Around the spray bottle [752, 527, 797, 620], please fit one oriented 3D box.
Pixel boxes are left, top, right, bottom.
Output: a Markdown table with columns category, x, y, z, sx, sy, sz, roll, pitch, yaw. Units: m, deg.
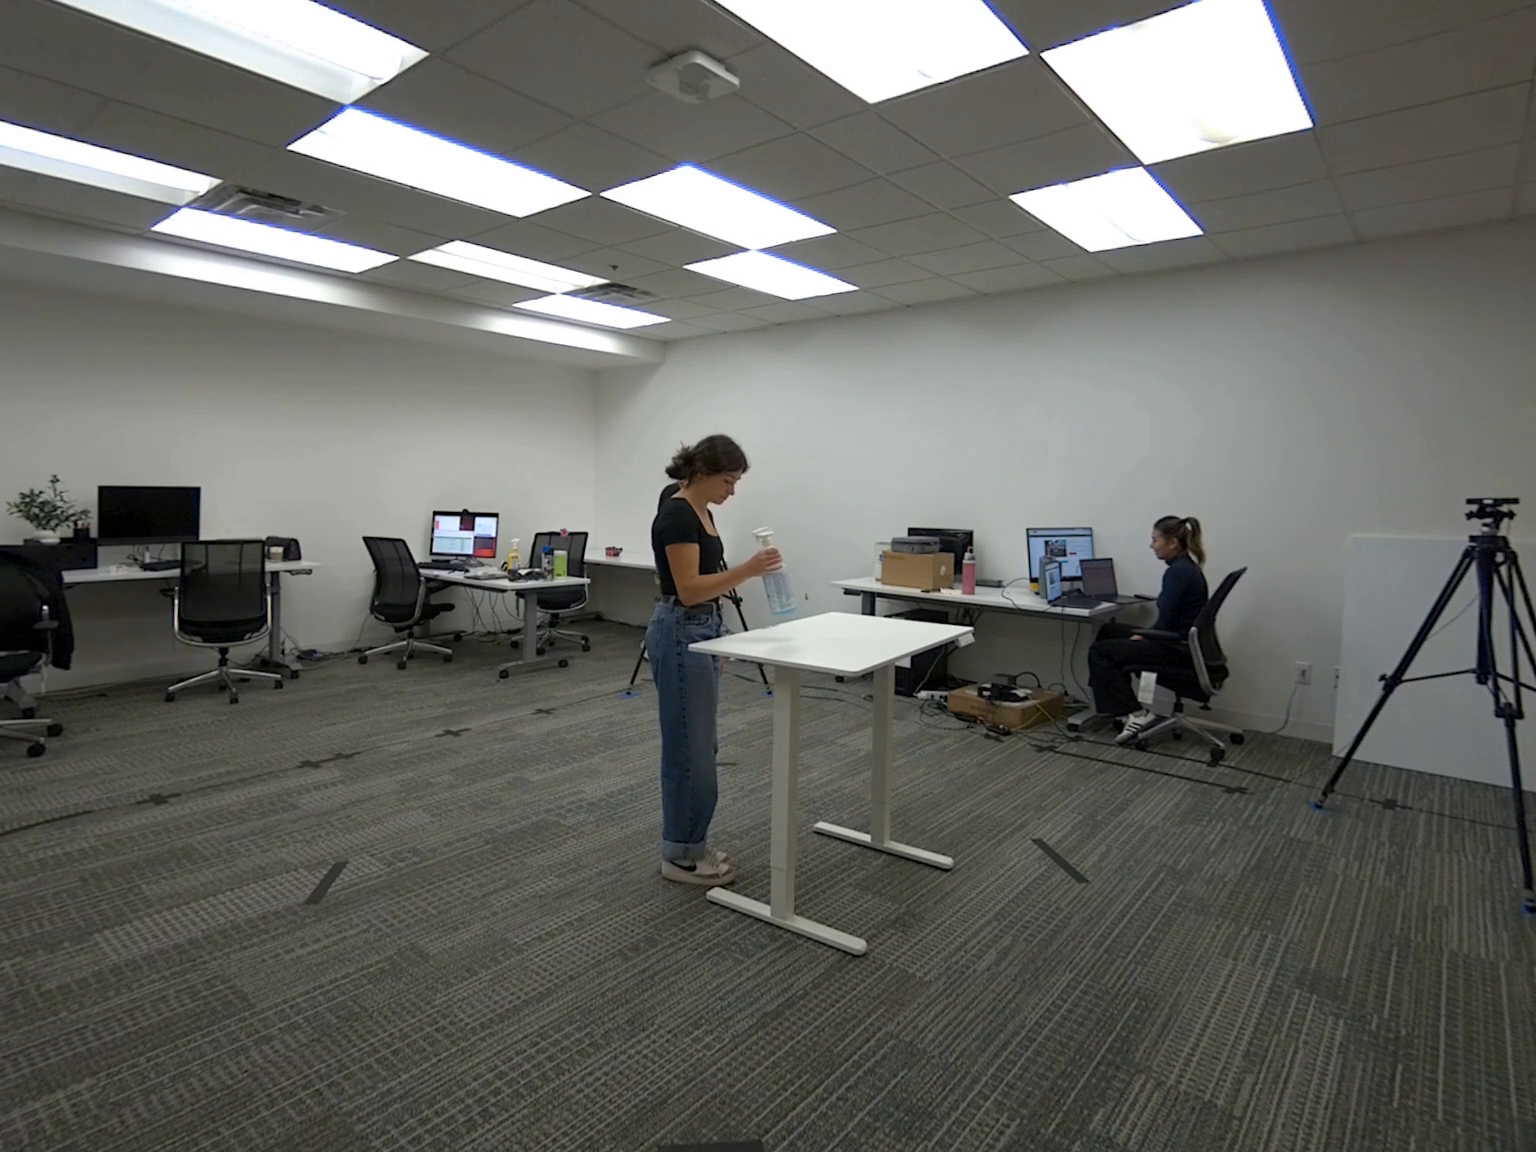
| category | x | y | z | sx | sy | sz | roll | pitch | yaw |
| --- | --- | --- | --- | --- | --- | --- | --- | --- | --- |
| spray bottle | 0.011 | -0.018 | 2.835 | 0.089 | 0.295 | 0.089 | -16 | 6 | -17 |
